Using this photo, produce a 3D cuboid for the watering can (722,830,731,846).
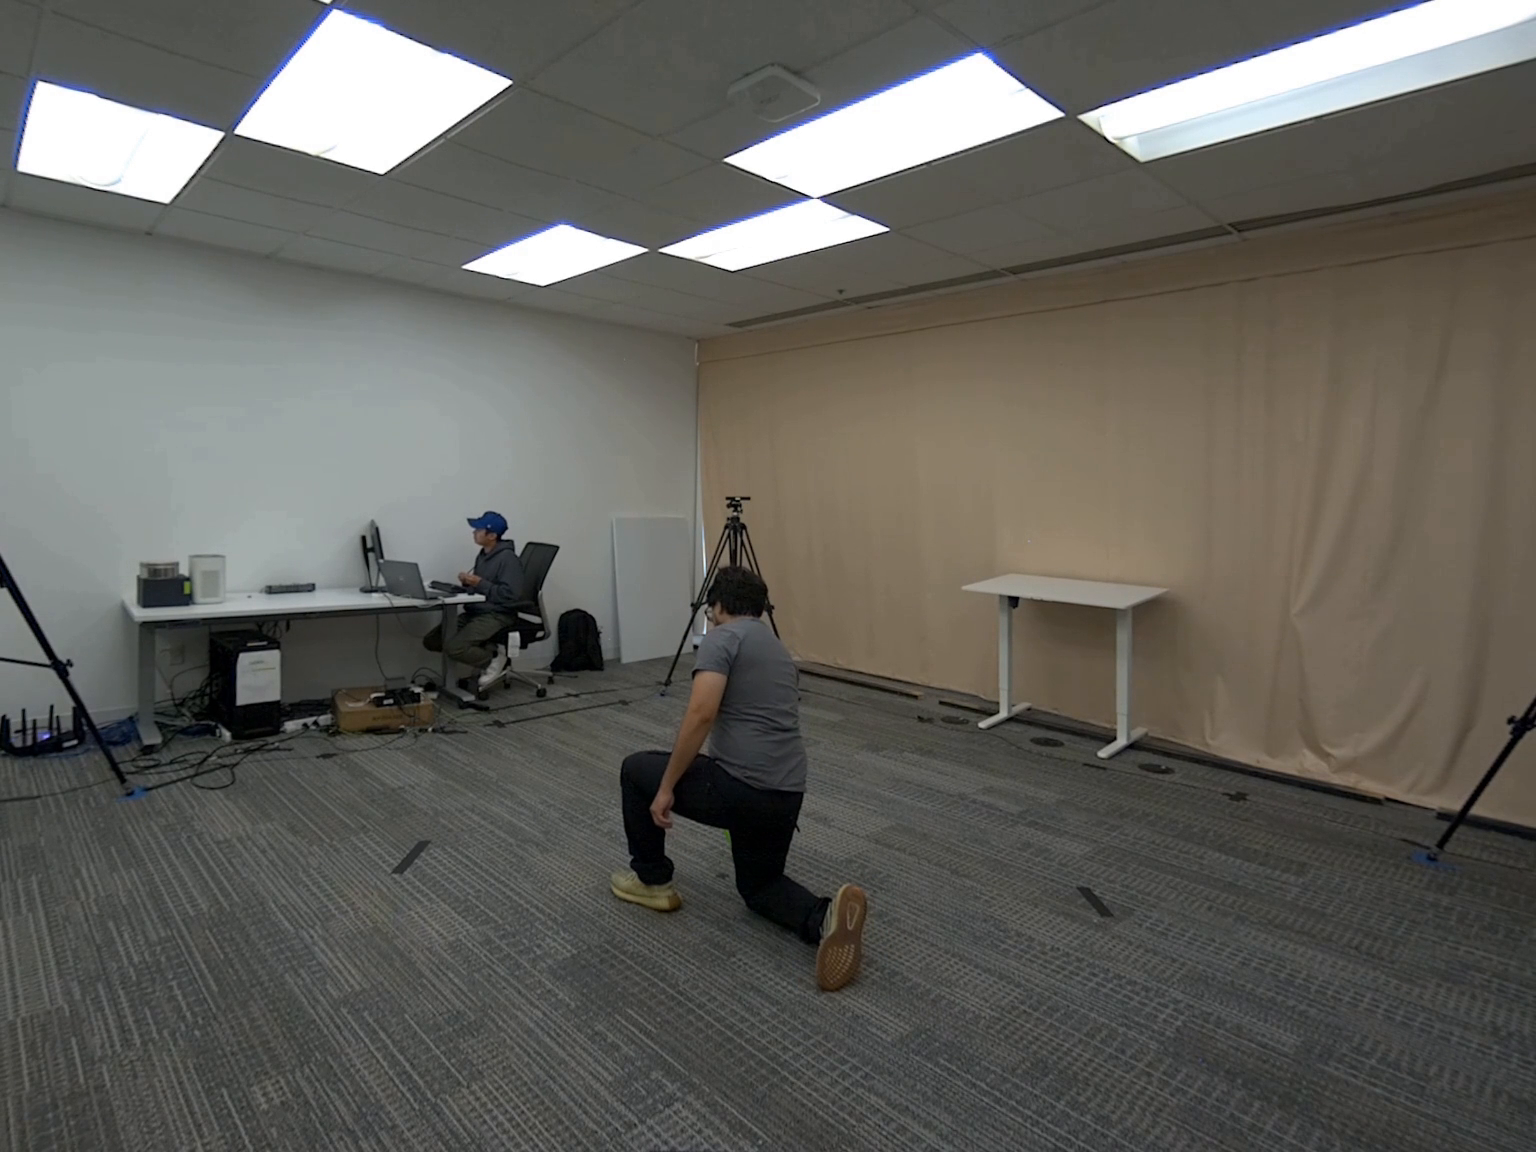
[{"bbox_3d":[-0.110,1.013,3.246,0.285,0.176,0.096,5,3,40],"label":"watering can"}]
